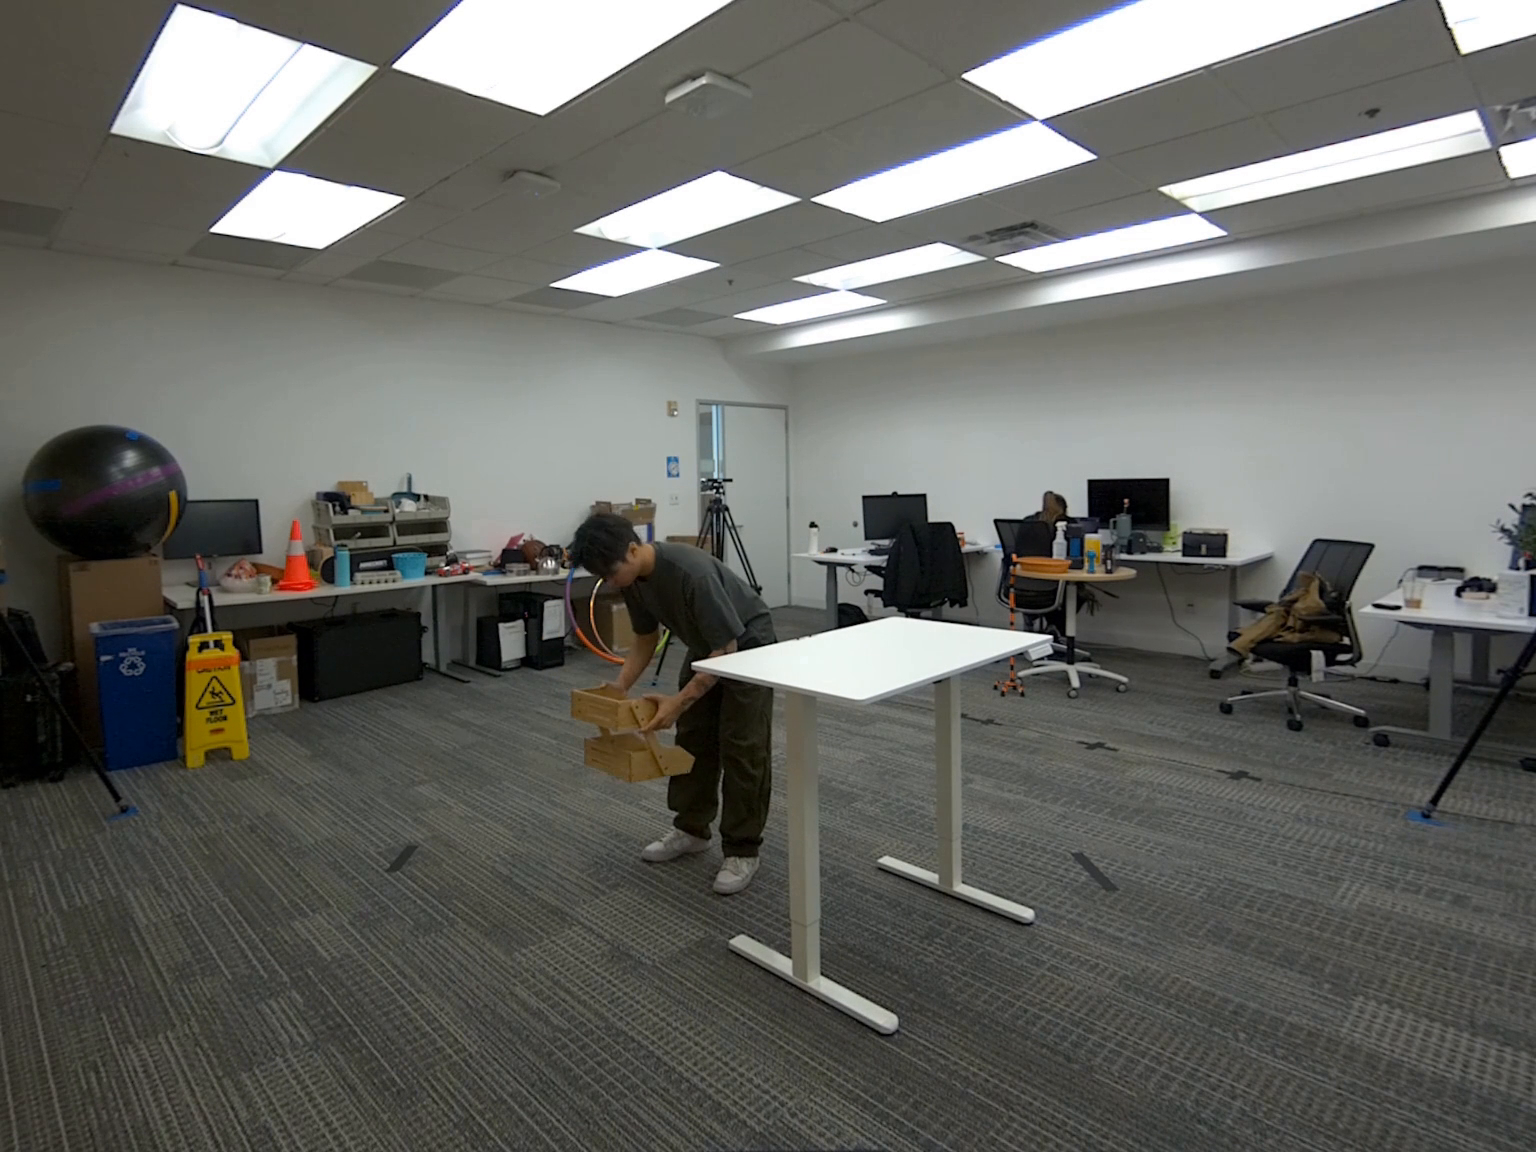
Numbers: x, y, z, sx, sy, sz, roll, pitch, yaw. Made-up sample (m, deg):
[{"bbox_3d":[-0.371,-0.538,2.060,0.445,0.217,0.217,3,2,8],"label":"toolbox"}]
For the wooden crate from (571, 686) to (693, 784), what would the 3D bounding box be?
[{"bbox_3d":[-0.451,0.510,2.859,0.293,0.274,0.333,0,0,-41],"label":"wooden crate"}]
